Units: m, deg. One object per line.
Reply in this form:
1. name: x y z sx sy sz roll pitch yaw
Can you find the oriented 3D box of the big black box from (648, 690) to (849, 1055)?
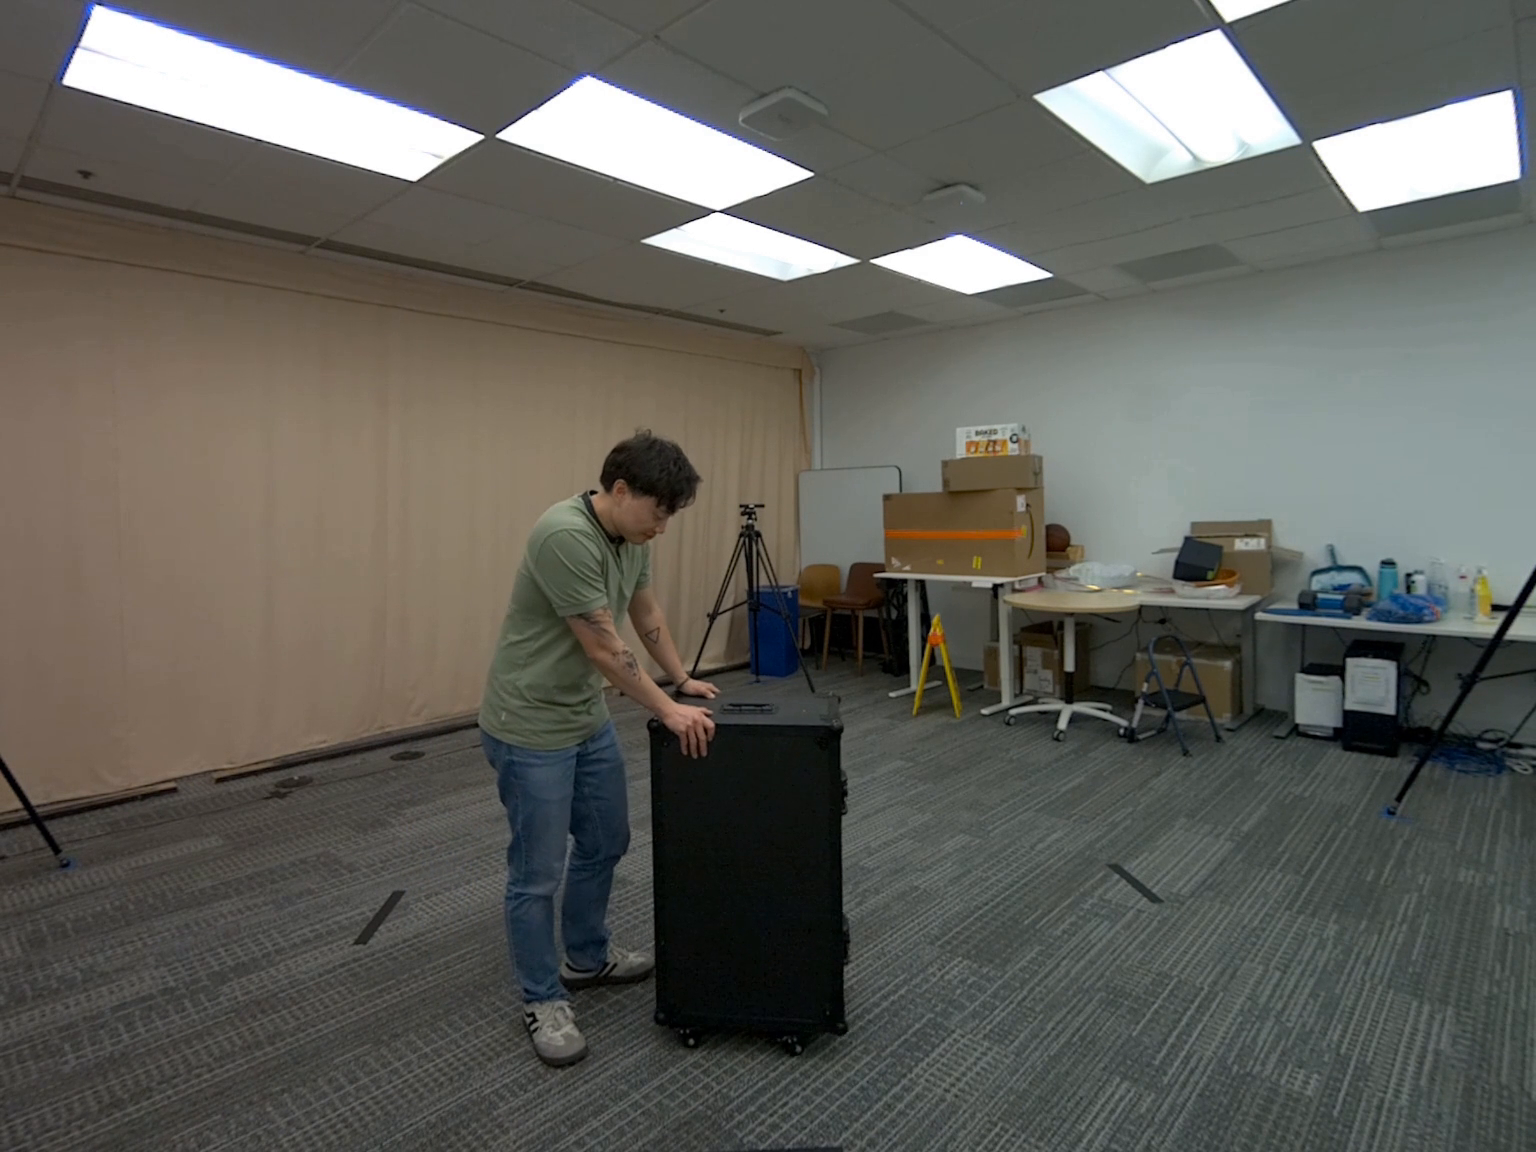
1. big black box: -0.039 0.782 2.285 0.525 0.860 0.394 0 2 6
